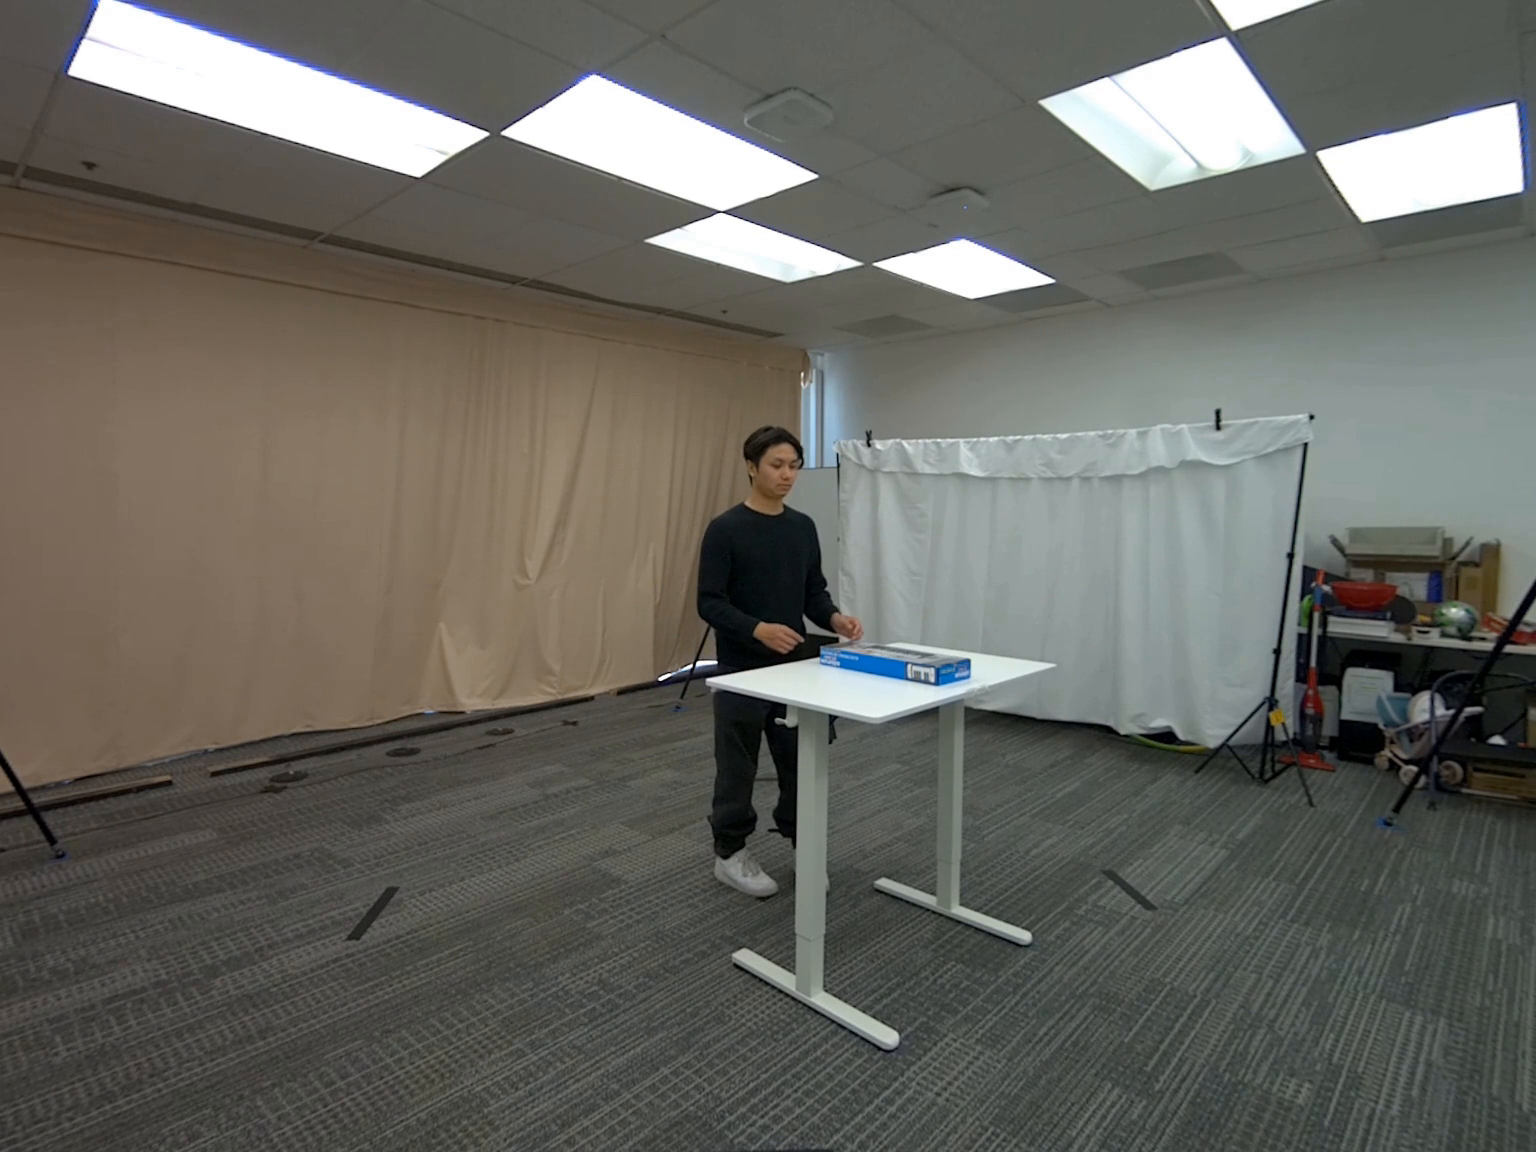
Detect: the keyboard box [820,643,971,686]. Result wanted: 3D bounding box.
[{"bbox_3d":[0.383,0.262,2.587,0.170,0.059,0.451,-5,7,-43],"label":"keyboard box"}]
